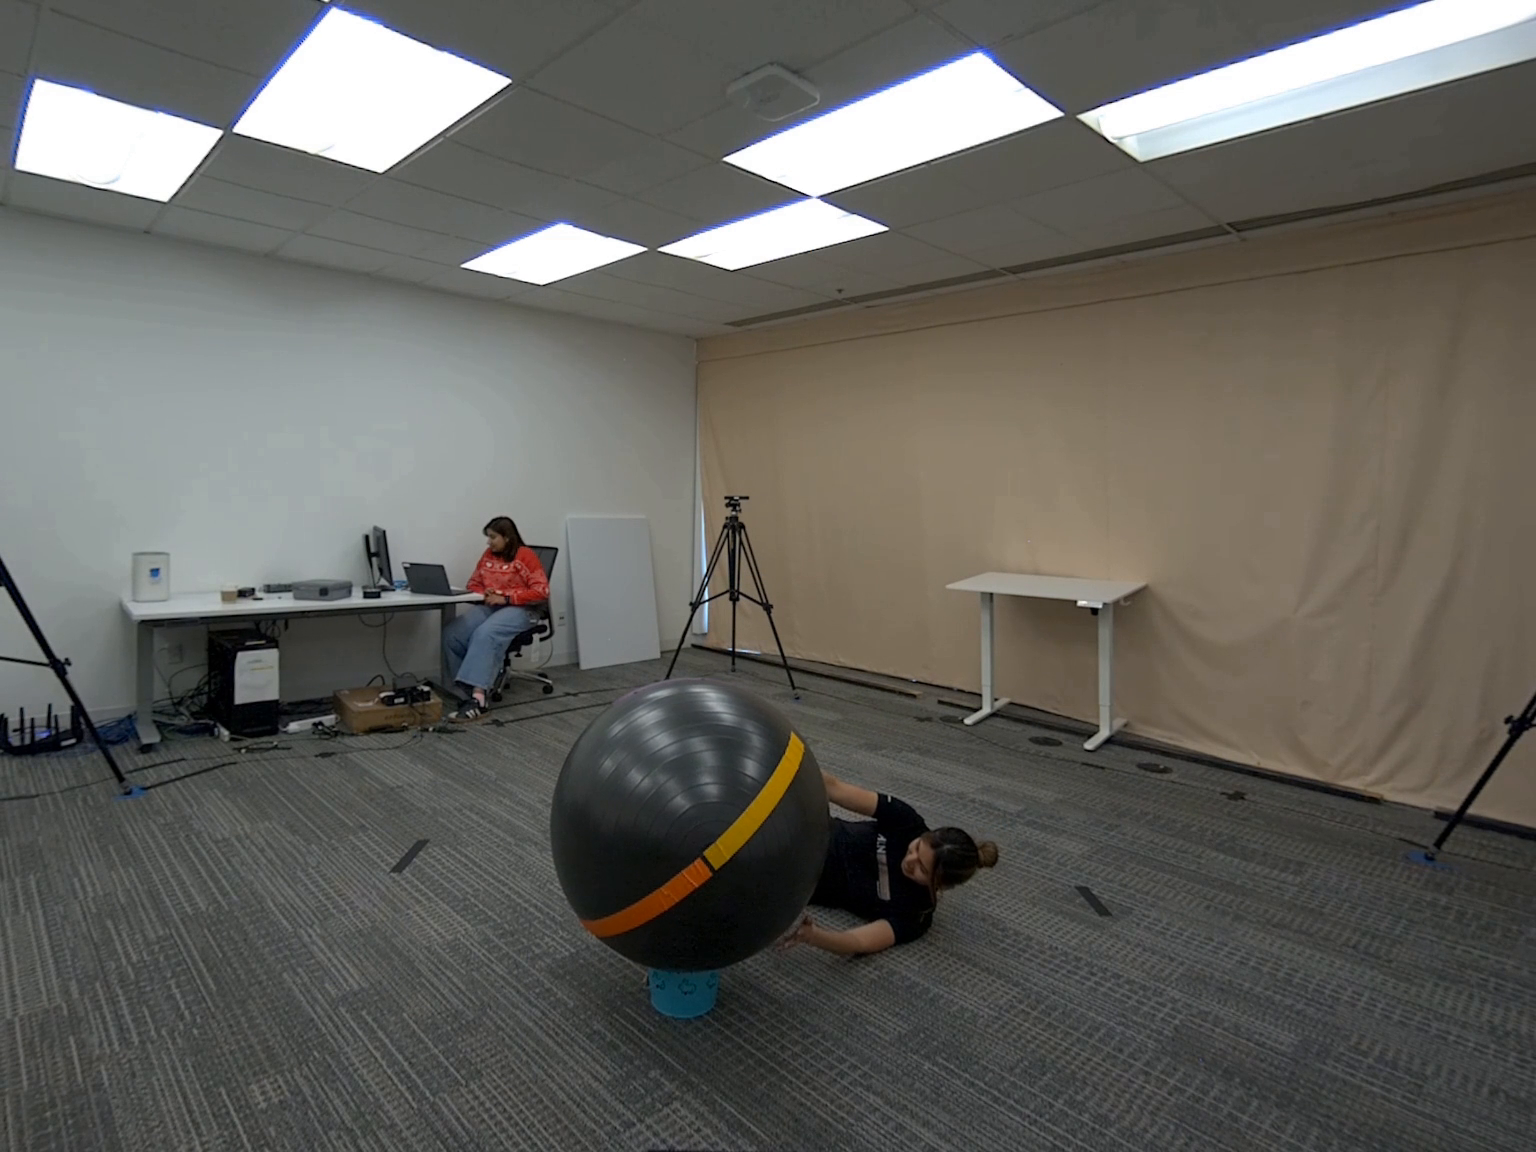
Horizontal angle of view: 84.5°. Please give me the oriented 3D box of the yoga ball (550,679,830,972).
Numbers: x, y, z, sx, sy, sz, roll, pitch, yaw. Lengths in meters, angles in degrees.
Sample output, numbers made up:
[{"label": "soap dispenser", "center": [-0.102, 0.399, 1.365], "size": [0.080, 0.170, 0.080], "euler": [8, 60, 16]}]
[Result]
[{"label": "yoga ball", "center": [-0.212, 0.670, 2.299], "size": [0.757, 0.756, 0.761], "euler": [1, 4, -1]}]
